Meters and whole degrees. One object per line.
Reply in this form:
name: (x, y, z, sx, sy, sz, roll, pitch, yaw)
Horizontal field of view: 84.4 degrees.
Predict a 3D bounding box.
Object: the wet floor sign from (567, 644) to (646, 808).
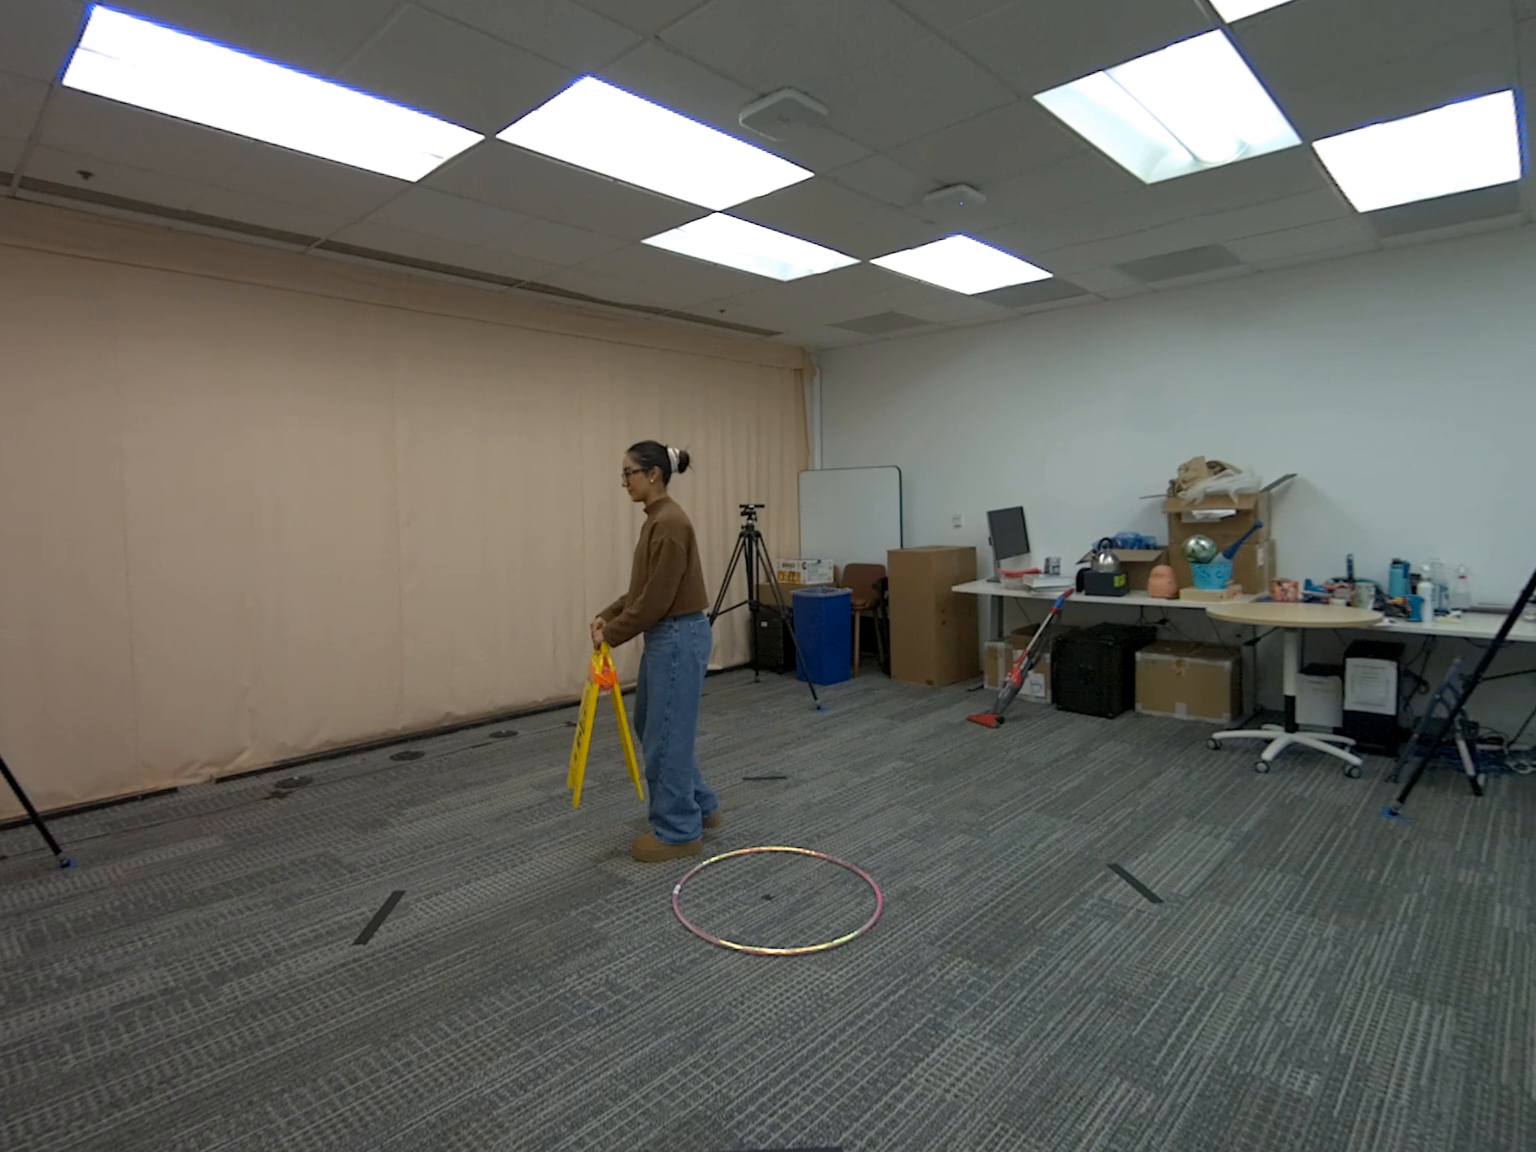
wet floor sign: (-0.663, 0.563, 3.383, 0.285, 0.644, 0.288, -2, 5, -18)
